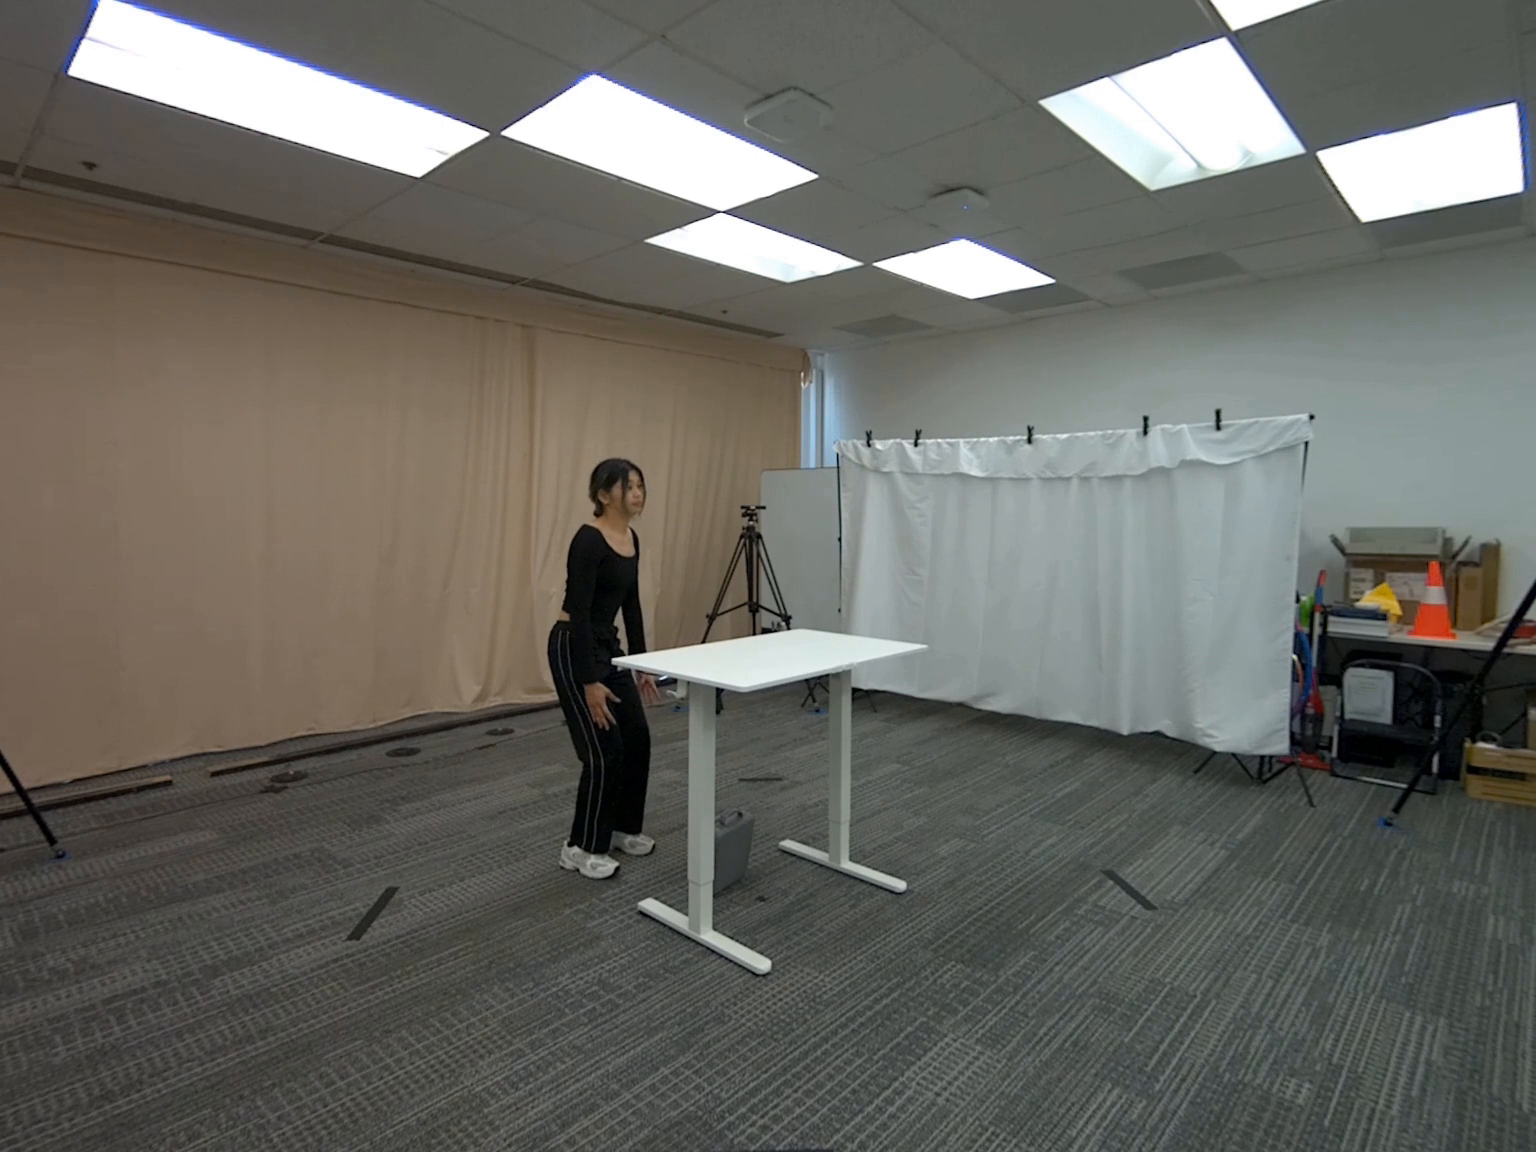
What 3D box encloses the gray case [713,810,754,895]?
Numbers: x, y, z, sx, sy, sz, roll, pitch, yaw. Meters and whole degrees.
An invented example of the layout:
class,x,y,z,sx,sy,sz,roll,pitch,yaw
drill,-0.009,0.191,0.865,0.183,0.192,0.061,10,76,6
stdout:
class,x,y,z,sx,sy,sz,roll,pitch,yaw
gray case,-0.158,1.002,3.083,0.108,0.259,0.250,16,13,31
